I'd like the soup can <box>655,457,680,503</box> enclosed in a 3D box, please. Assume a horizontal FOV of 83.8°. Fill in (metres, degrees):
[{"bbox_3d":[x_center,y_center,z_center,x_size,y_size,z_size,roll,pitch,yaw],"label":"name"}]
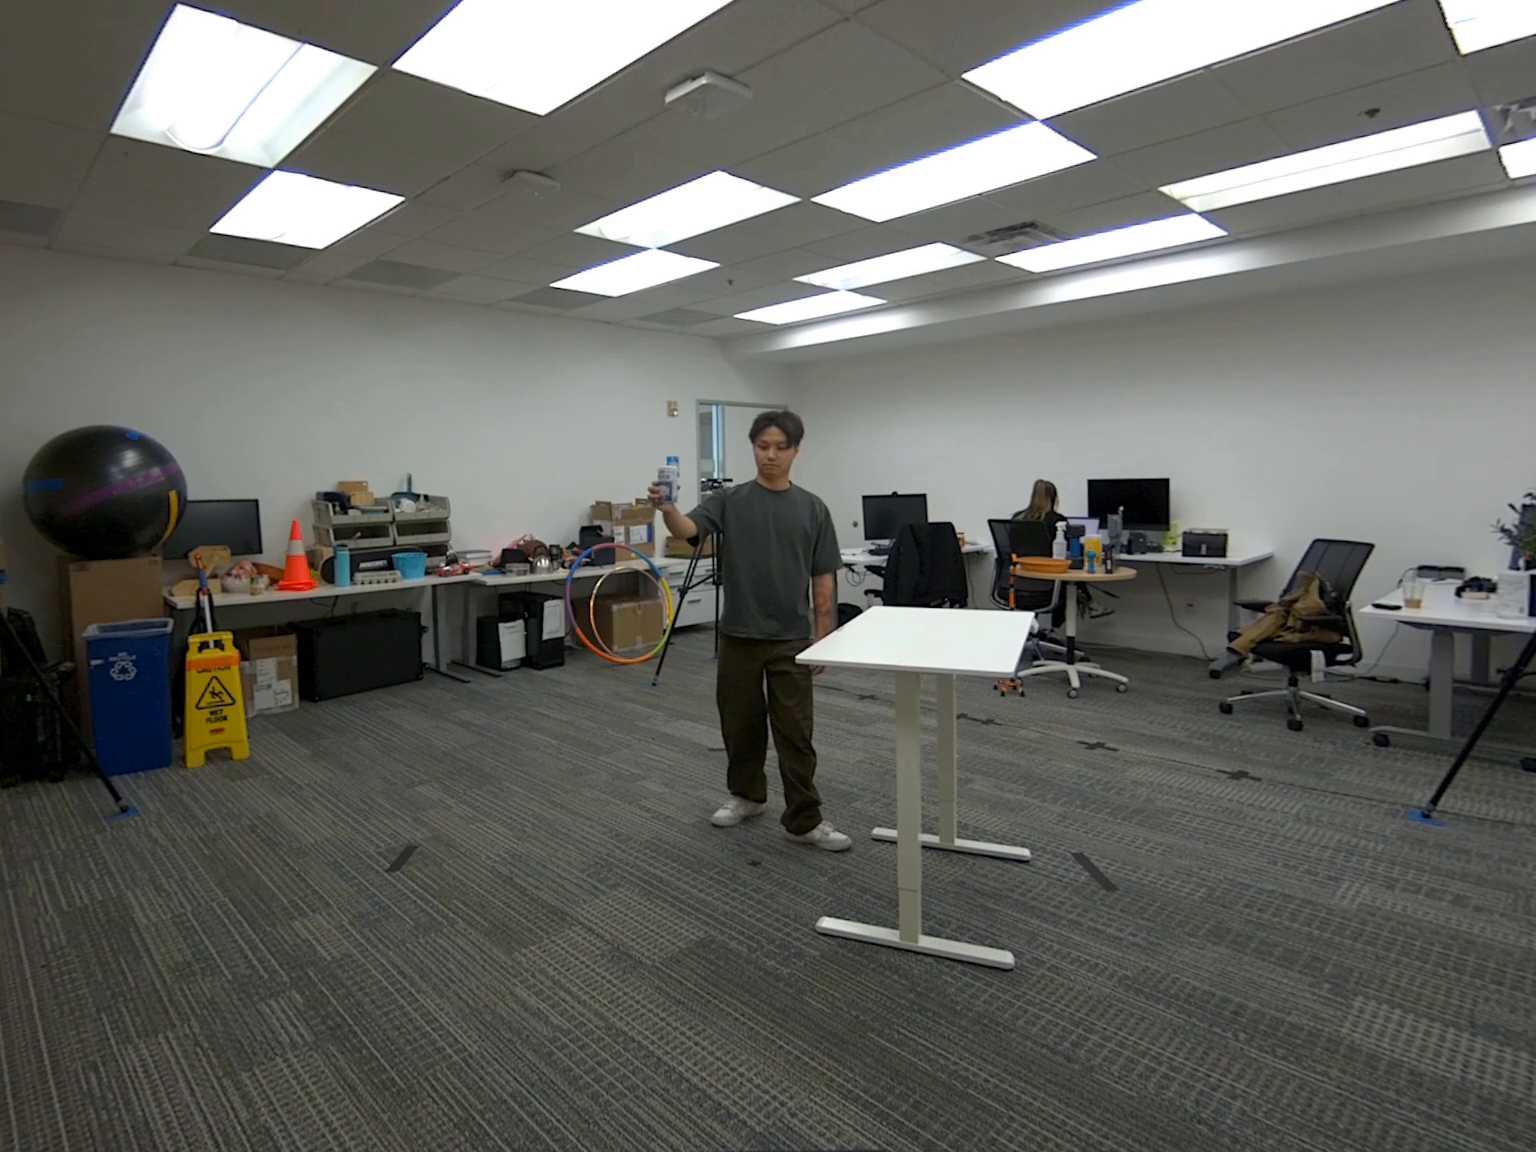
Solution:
[{"bbox_3d":[-0.316,-0.303,2.827,0.067,0.121,0.067,1,1,-2],"label":"soup can"}]
